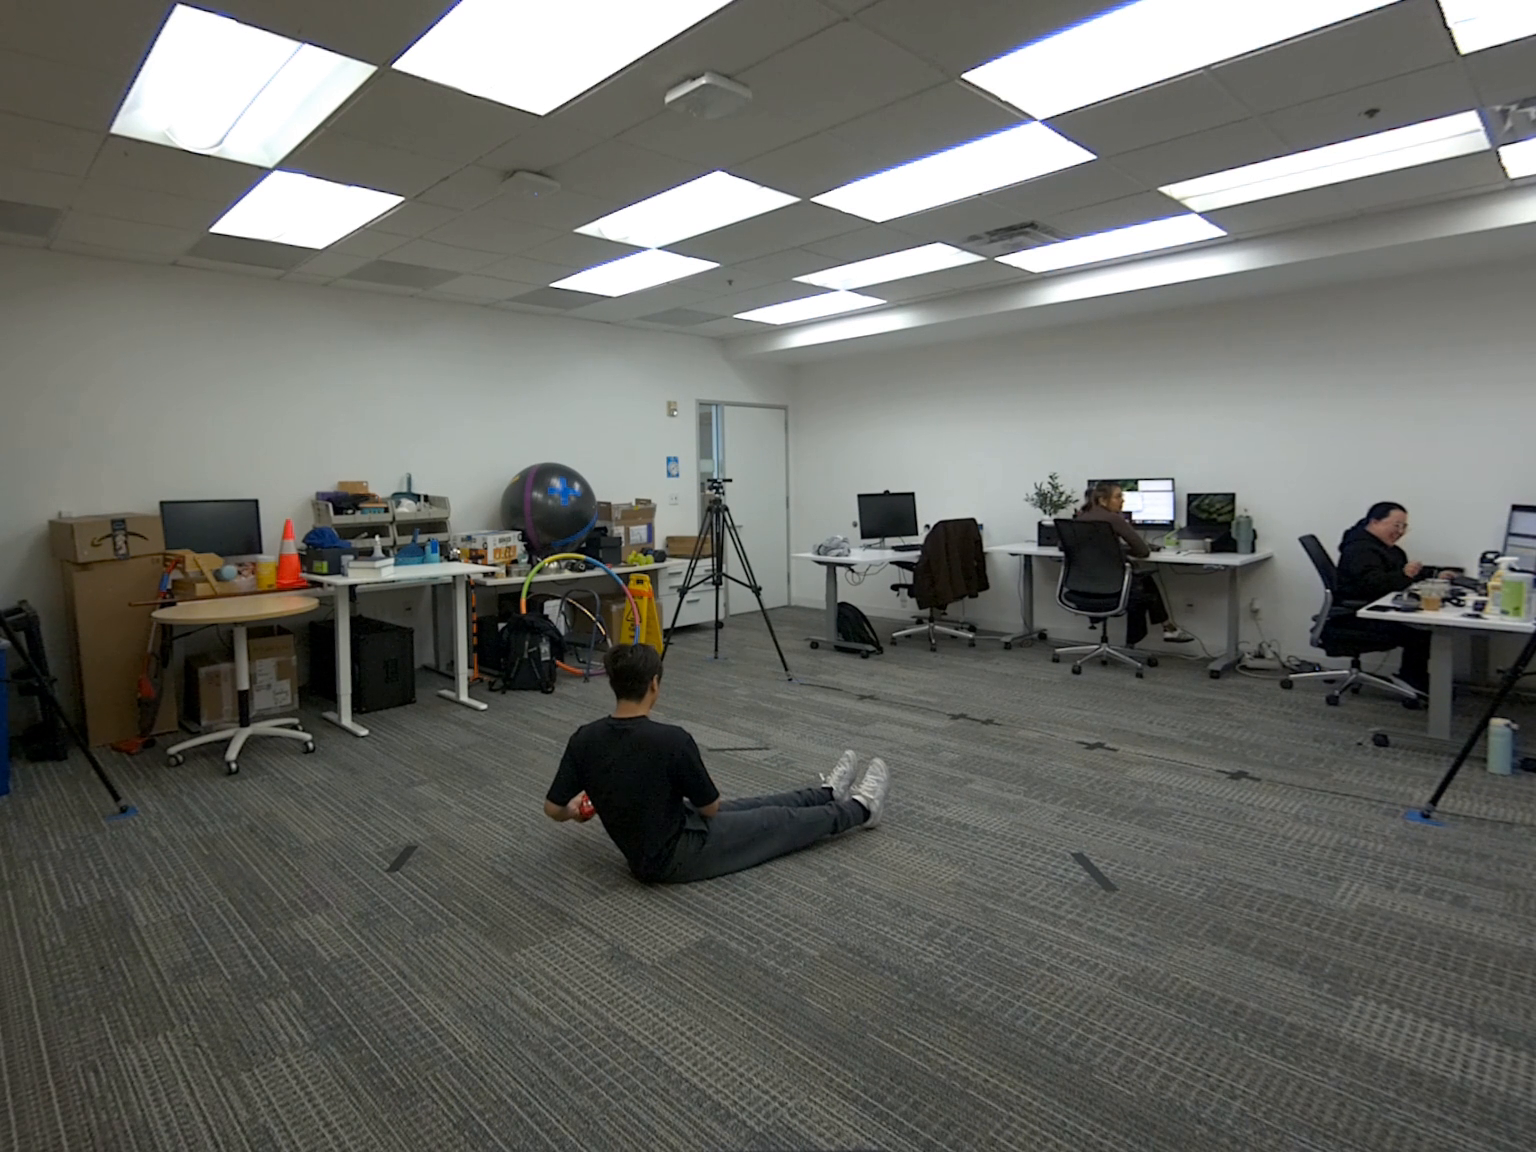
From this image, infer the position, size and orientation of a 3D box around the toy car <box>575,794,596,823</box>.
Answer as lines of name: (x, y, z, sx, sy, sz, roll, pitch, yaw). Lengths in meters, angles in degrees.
toy car: (-0.671, 0.880, 3.338, 0.130, 0.083, 0.254, -27, 0, -7)
